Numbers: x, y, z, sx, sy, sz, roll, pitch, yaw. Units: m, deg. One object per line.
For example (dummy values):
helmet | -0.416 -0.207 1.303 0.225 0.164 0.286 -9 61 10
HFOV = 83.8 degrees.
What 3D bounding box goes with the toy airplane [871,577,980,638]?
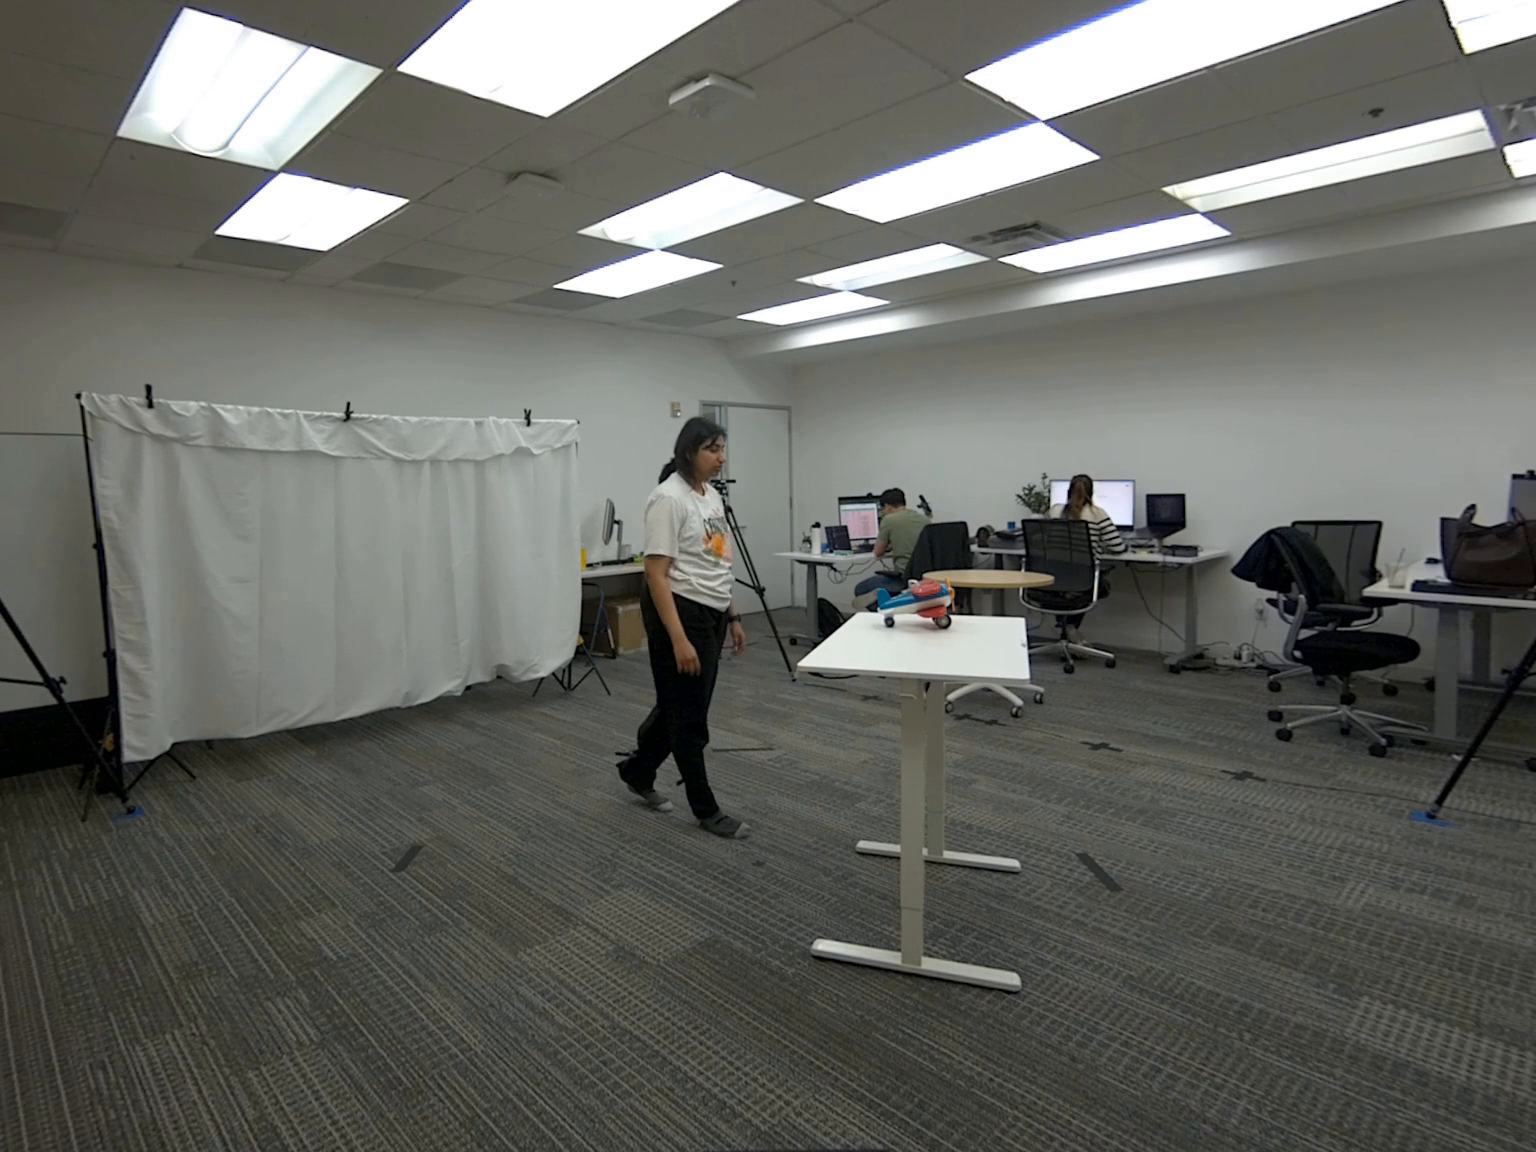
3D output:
toy airplane | 0.530 0.099 2.917 0.254 0.156 0.257 -2 7 -23
